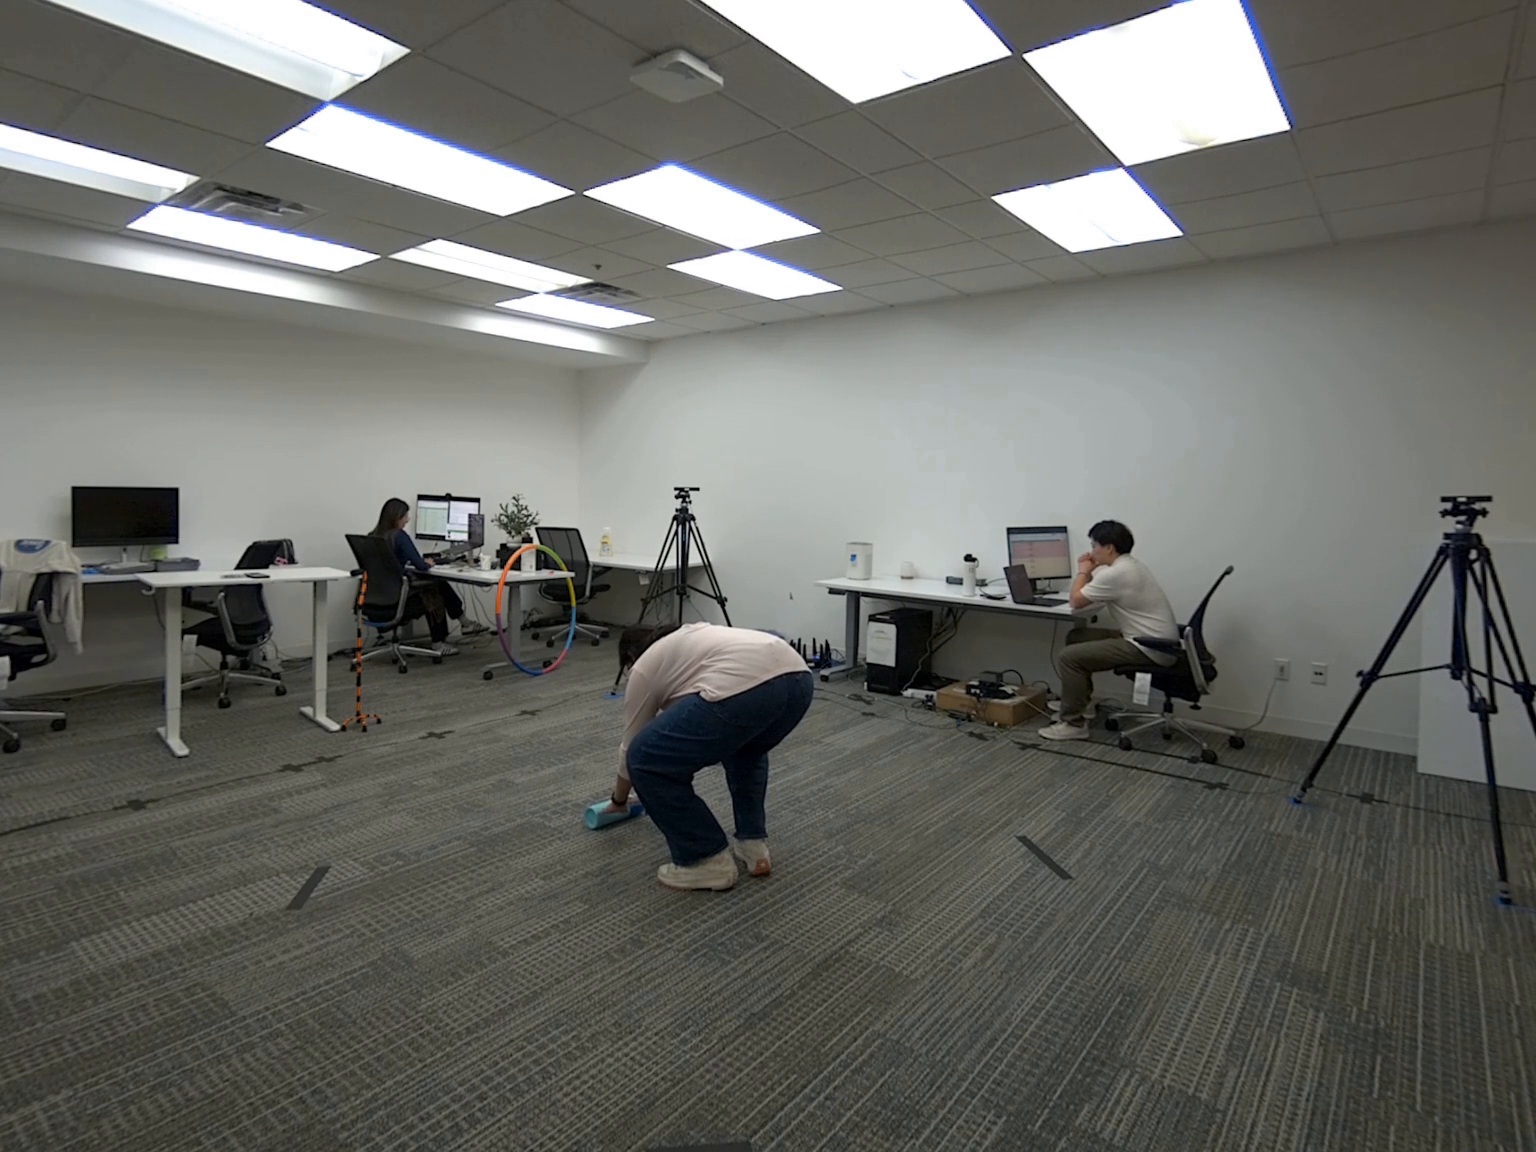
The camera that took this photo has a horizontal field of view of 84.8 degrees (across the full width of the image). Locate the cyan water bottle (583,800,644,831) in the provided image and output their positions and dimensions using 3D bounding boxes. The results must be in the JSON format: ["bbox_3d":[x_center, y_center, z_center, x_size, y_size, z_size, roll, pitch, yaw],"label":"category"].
[{"bbox_3d":[-0.645,0.970,3.548,0.095,0.092,0.274,4,4,42],"label":"cyan water bottle"}]
